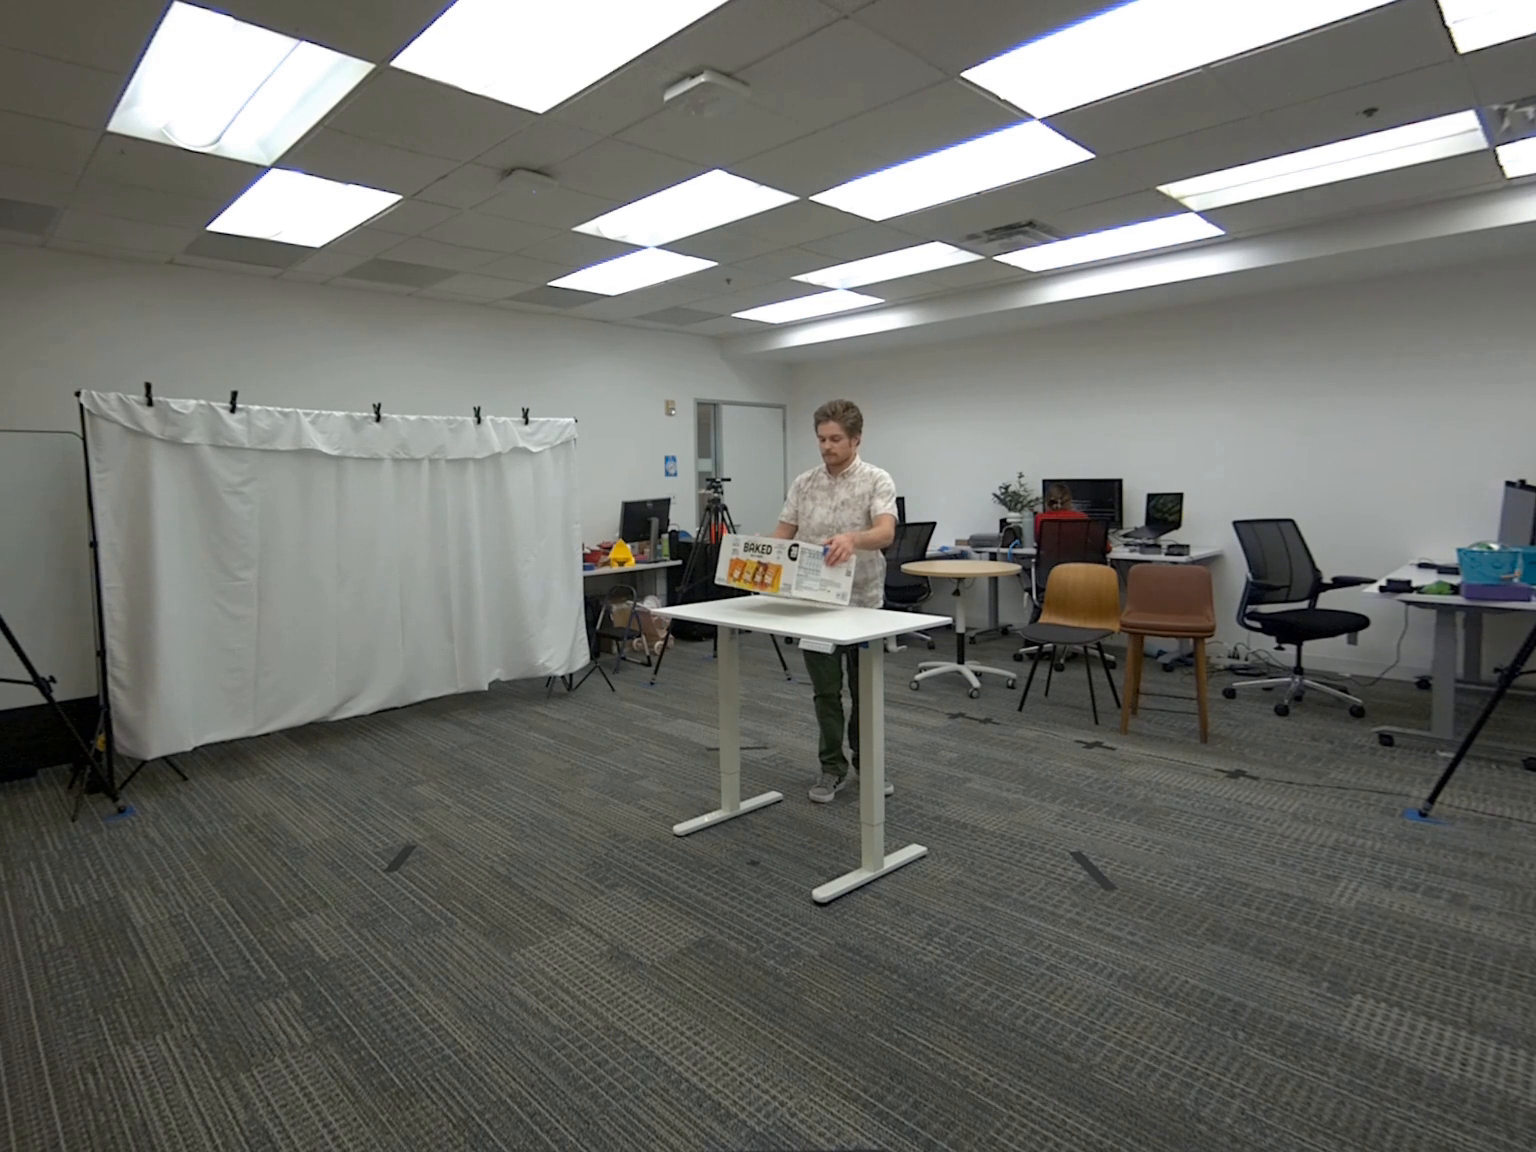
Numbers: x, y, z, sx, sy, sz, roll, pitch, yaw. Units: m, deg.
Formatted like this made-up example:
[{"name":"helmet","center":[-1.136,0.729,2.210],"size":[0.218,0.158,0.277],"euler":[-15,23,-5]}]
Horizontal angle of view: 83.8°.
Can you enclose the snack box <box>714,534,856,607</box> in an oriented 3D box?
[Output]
[{"name":"snack box","center":[0.077,-0.027,3.333],"size":[0.418,0.206,0.329],"euler":[8,-2,45]}]
